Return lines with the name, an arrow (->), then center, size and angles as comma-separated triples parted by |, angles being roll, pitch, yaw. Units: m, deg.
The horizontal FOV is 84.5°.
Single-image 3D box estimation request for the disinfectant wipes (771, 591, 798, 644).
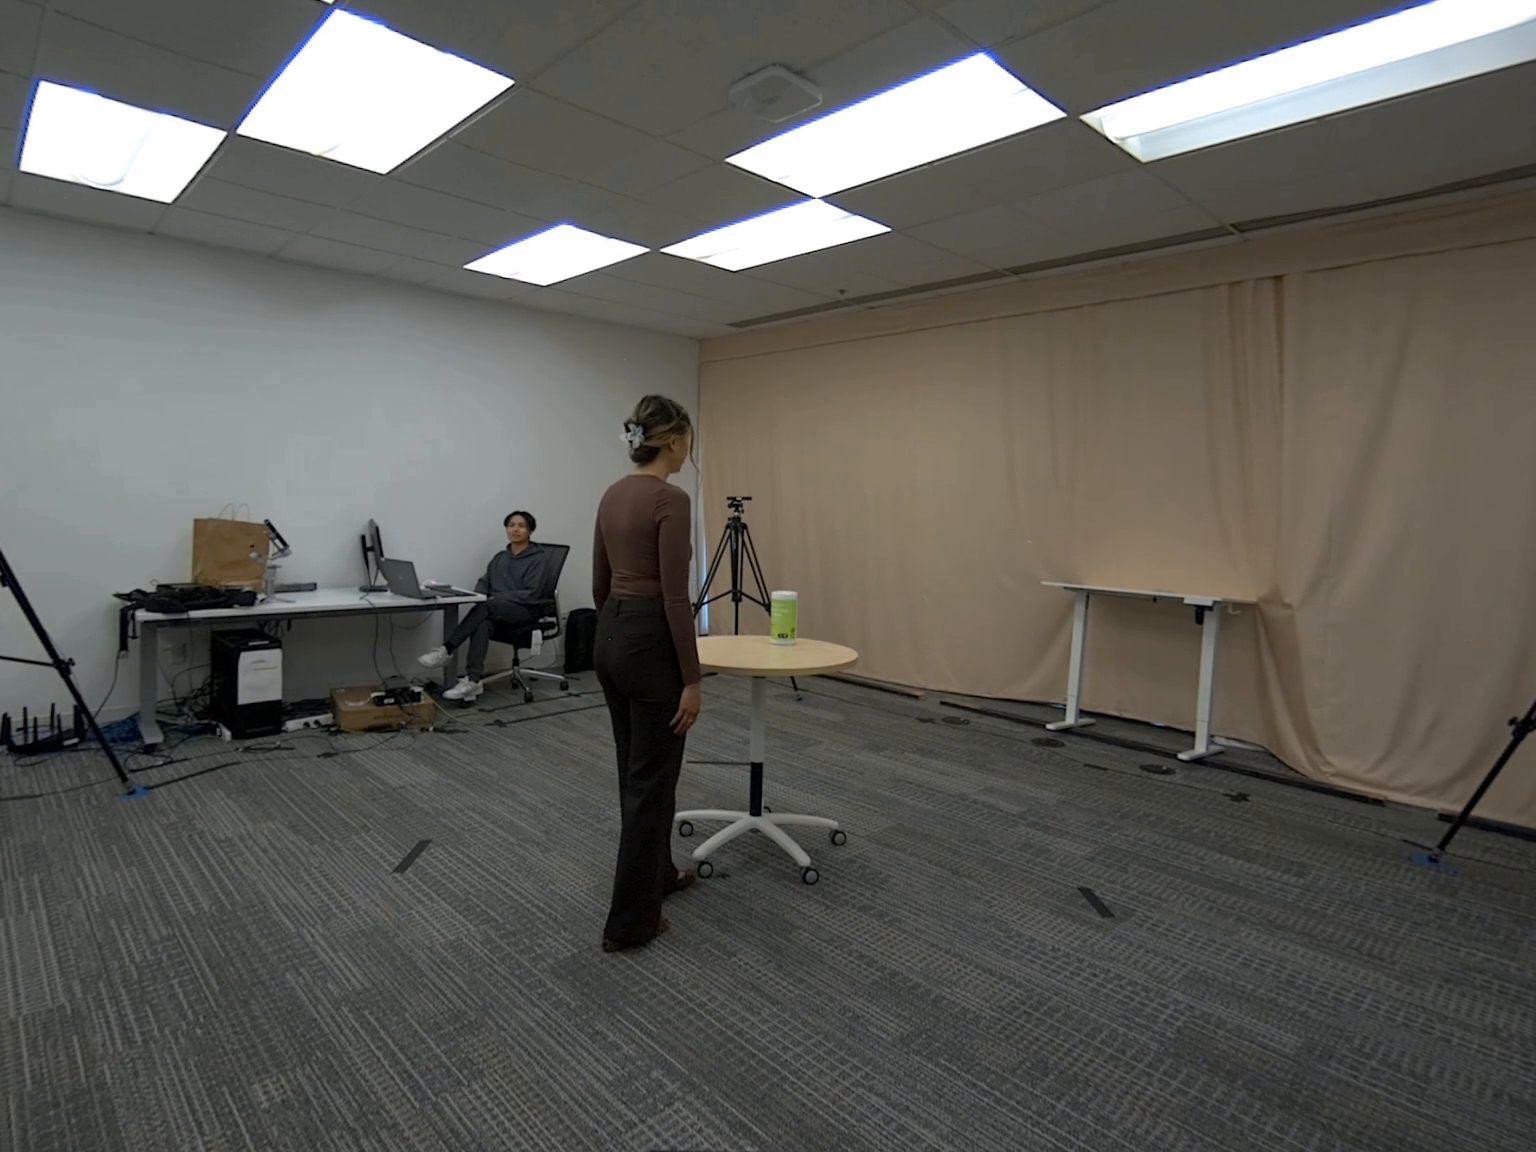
disinfectant wipes -> 0.060, 0.172, 3.496 | 0.118, 0.217, 0.118 | 2, 3, -2
